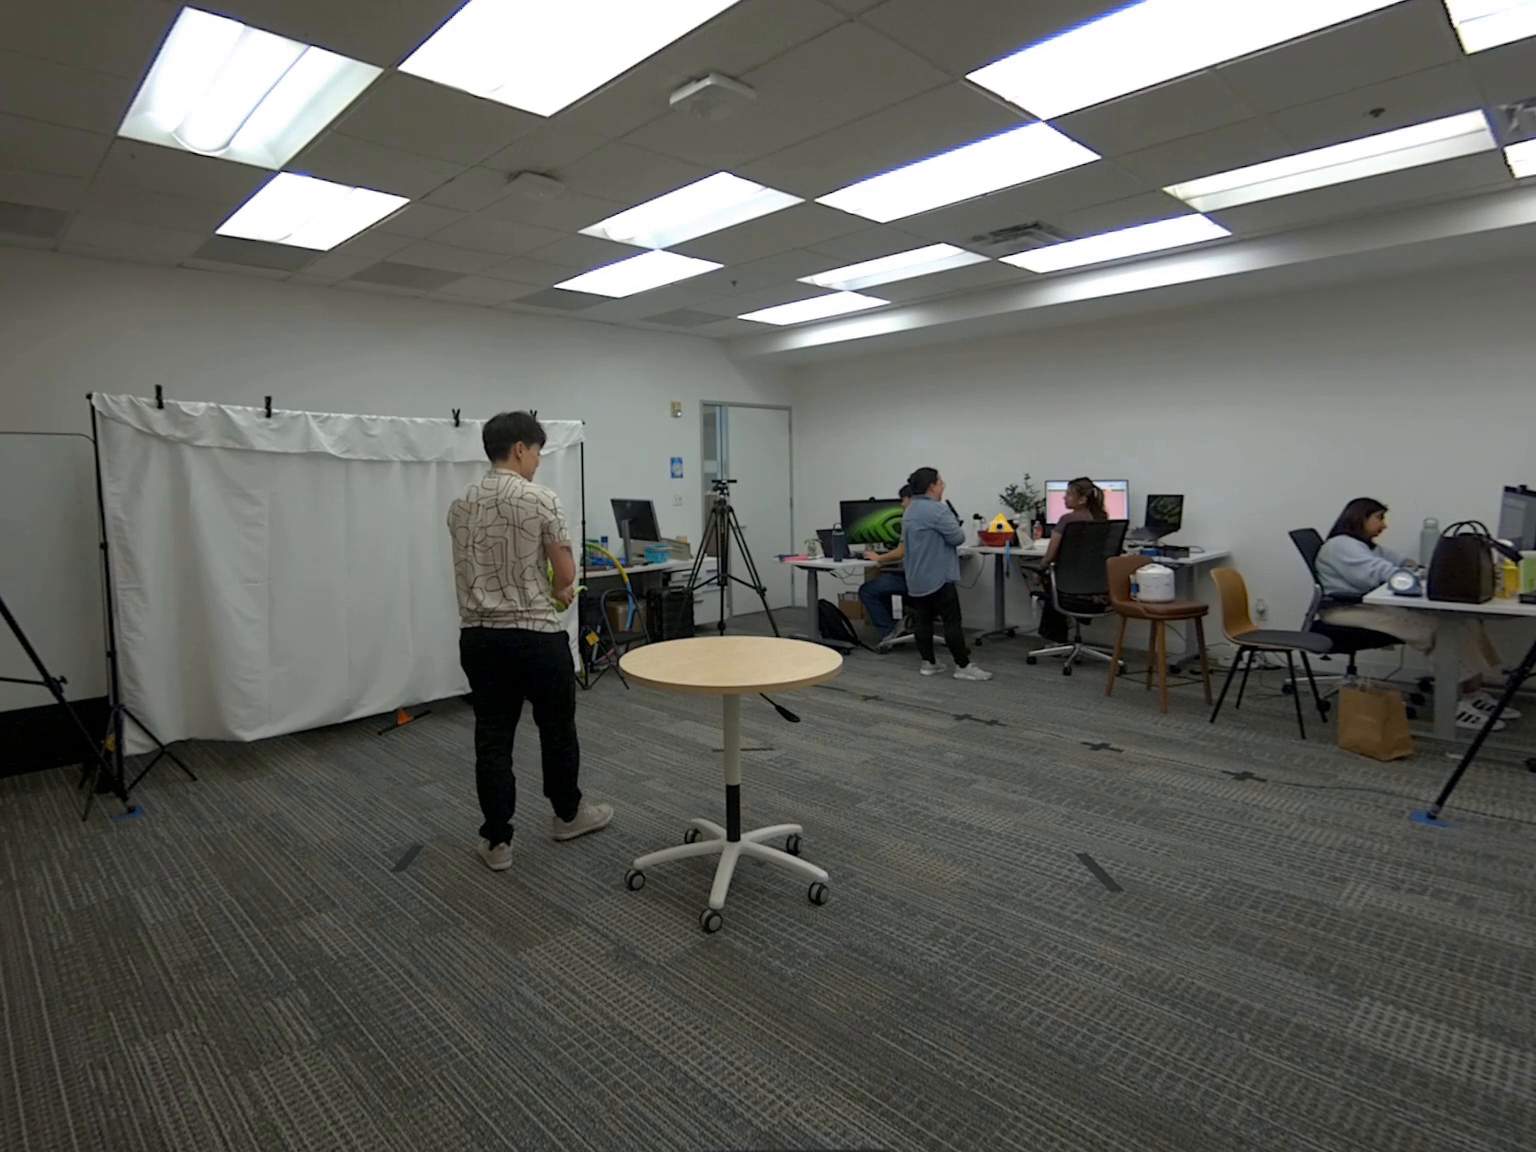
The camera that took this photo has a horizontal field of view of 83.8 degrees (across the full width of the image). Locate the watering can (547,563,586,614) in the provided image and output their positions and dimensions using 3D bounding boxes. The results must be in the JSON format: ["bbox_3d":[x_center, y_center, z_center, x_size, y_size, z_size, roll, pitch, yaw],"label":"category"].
[{"bbox_3d":[-0.825,0.061,3.485,0.100,0.180,0.267,-11,-32,30],"label":"watering can"}]
